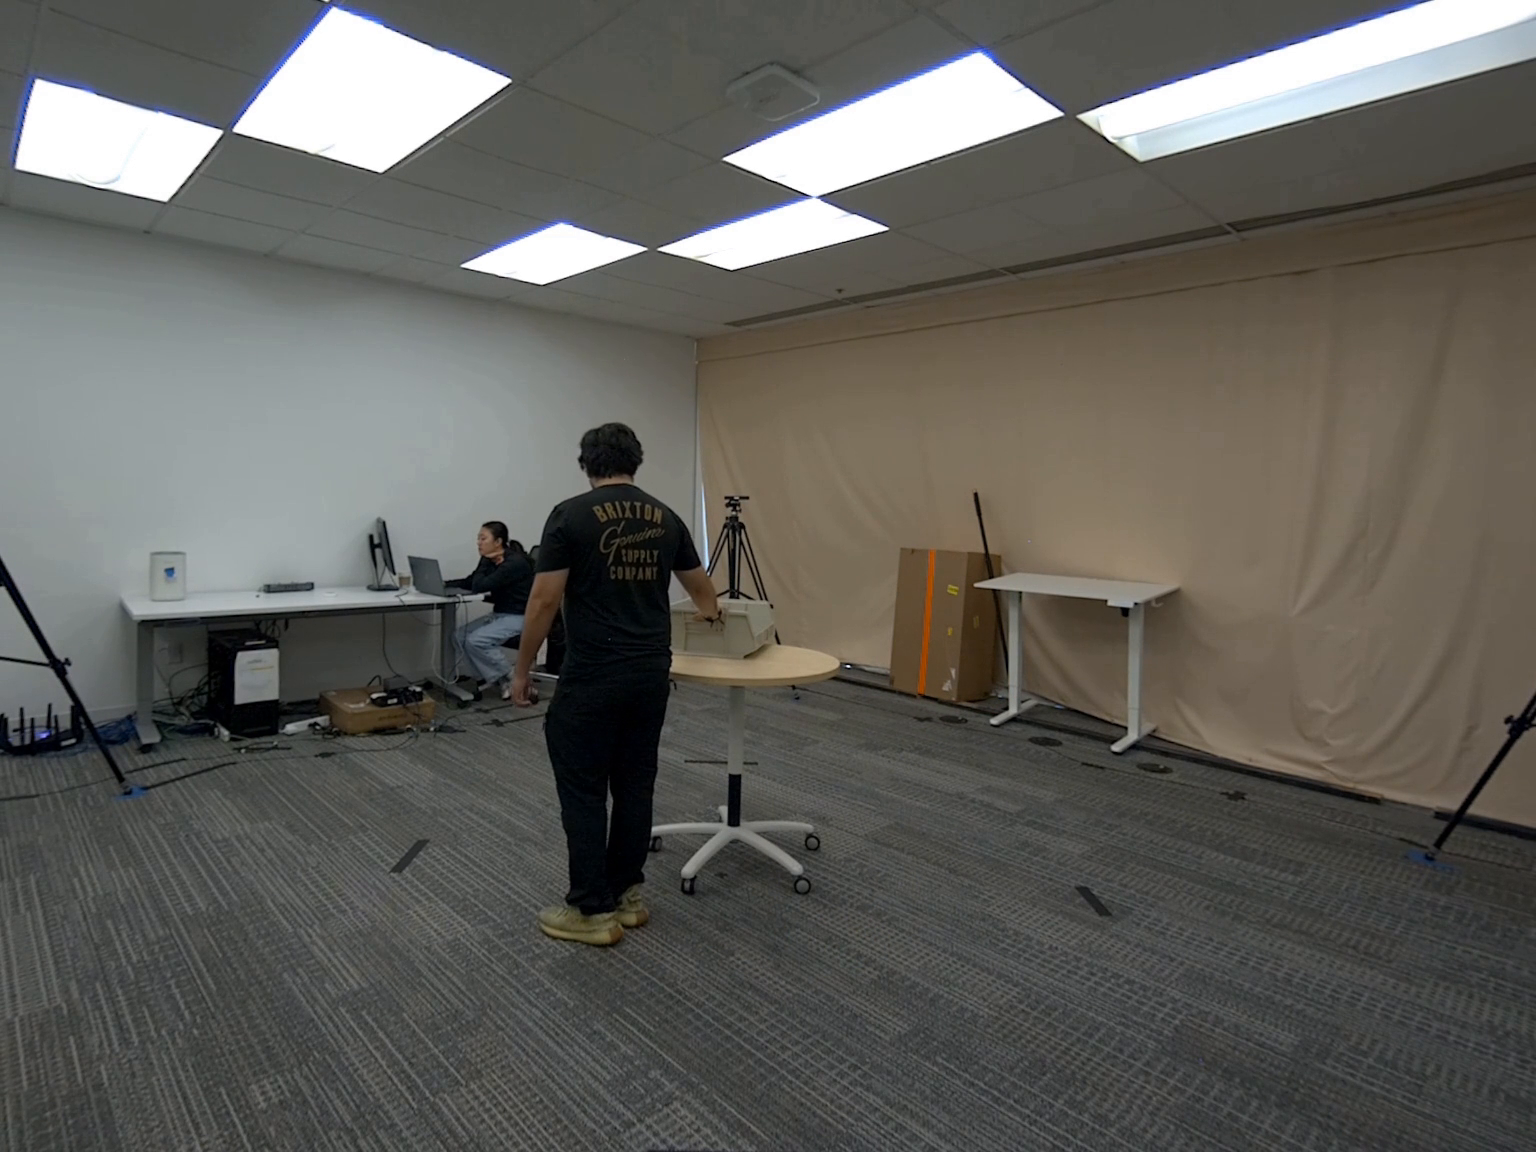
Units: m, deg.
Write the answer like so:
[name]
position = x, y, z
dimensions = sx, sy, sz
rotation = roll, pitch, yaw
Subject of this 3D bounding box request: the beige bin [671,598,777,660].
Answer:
[beige bin]
position = -0.186, 0.208, 3.402
dimensions = 0.381, 0.188, 0.419
rotation = 2, 5, 12
